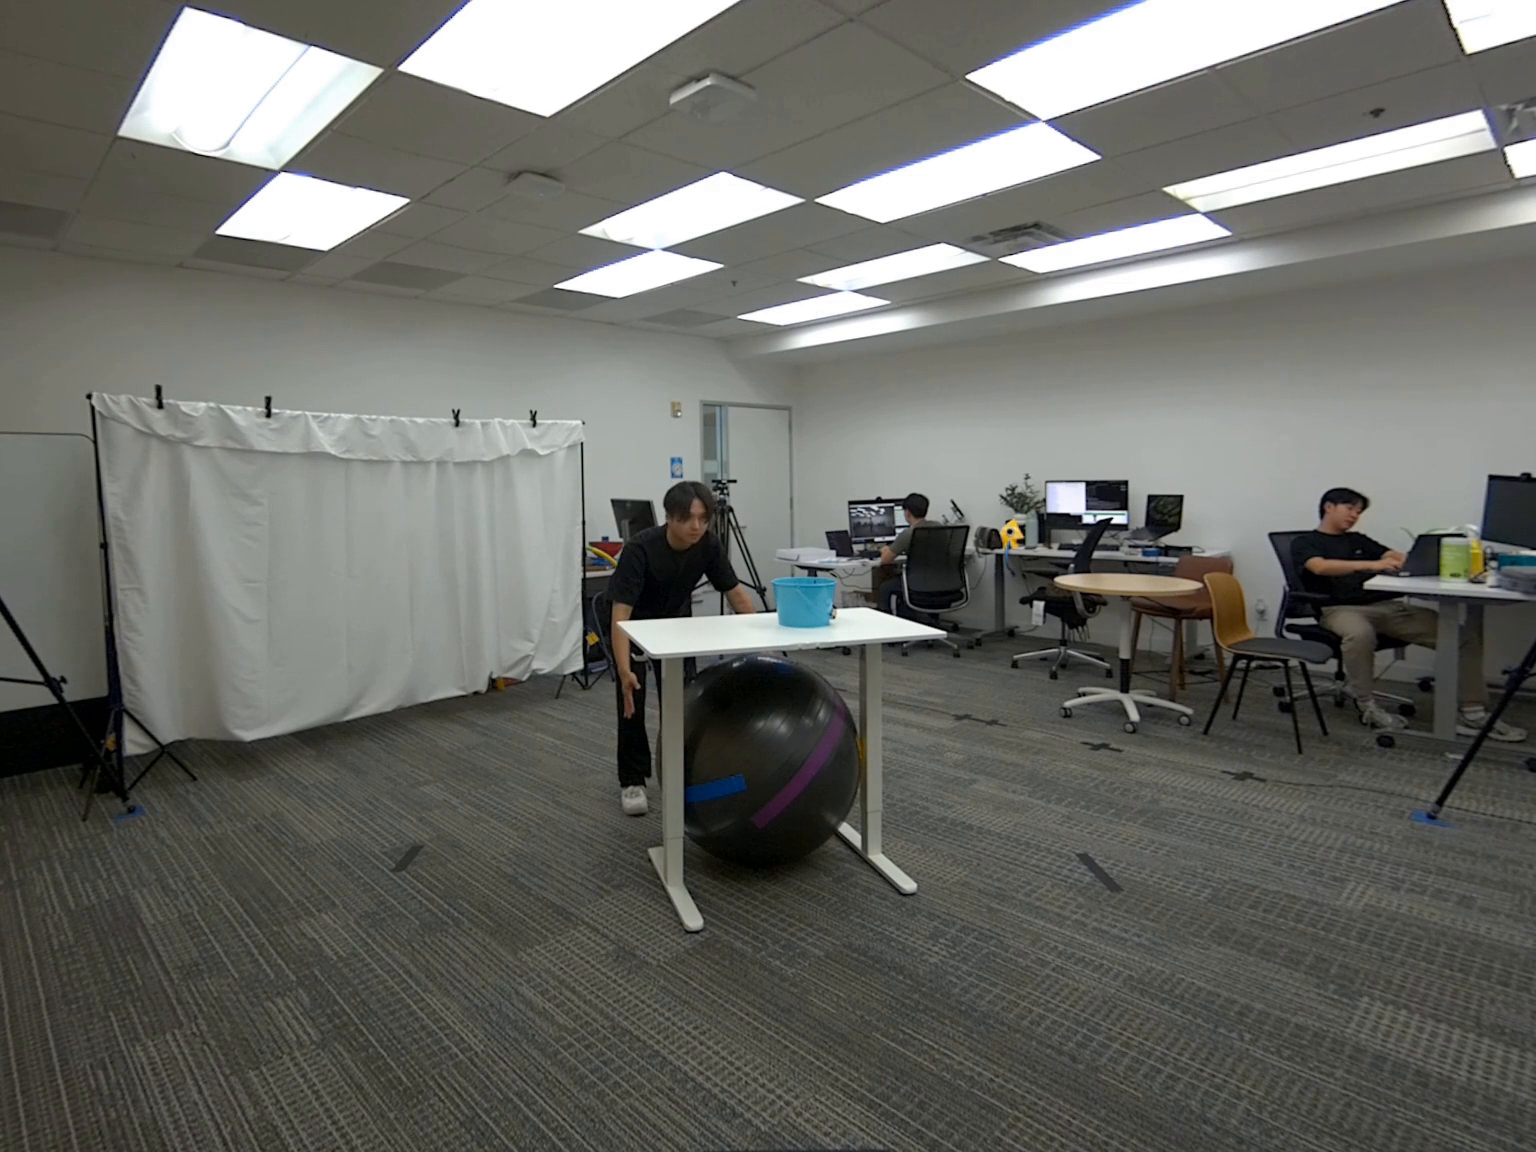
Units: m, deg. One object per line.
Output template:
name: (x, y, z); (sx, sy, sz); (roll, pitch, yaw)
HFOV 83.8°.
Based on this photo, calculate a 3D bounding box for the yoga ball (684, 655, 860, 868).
yoga ball: (-0.026, 0.682, 3.163); (0.757, 0.755, 0.762); (-1, 5, -2)
